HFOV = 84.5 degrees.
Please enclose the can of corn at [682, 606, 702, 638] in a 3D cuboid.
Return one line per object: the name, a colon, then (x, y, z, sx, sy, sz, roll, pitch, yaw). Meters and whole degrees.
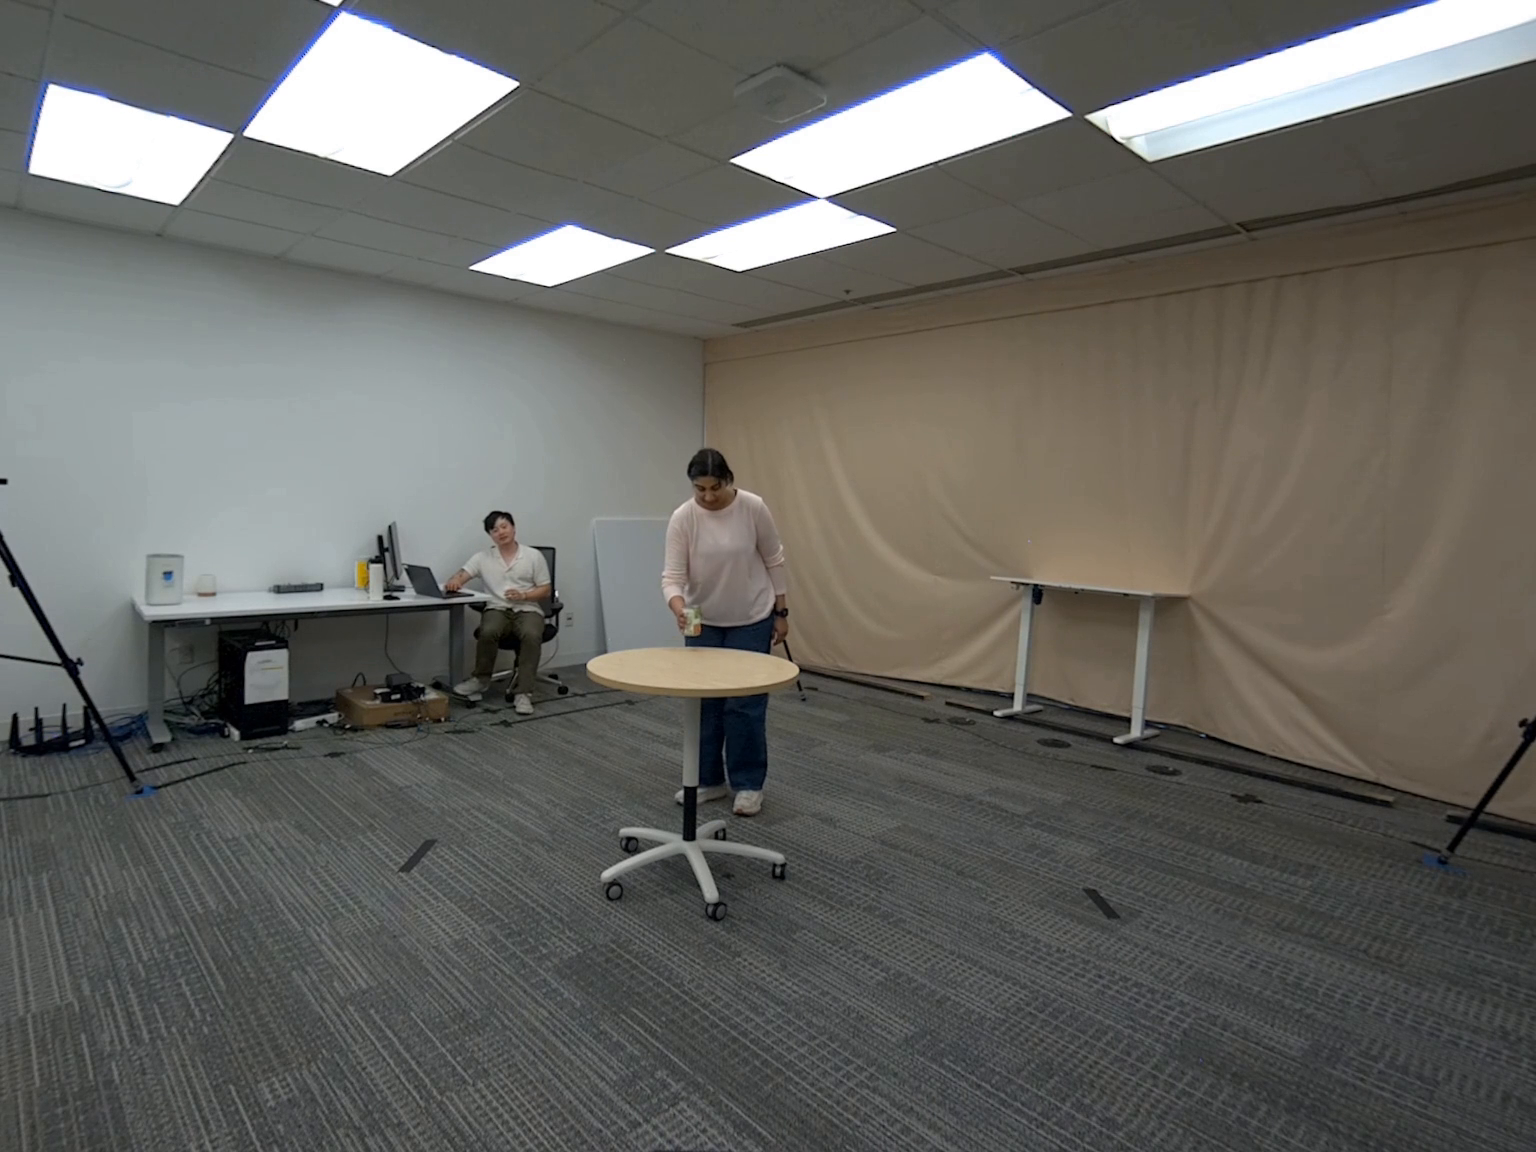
can of corn: (-0.324, 0.179, 3.363, 0.074, 0.111, 0.074, -1, 4, -1)
